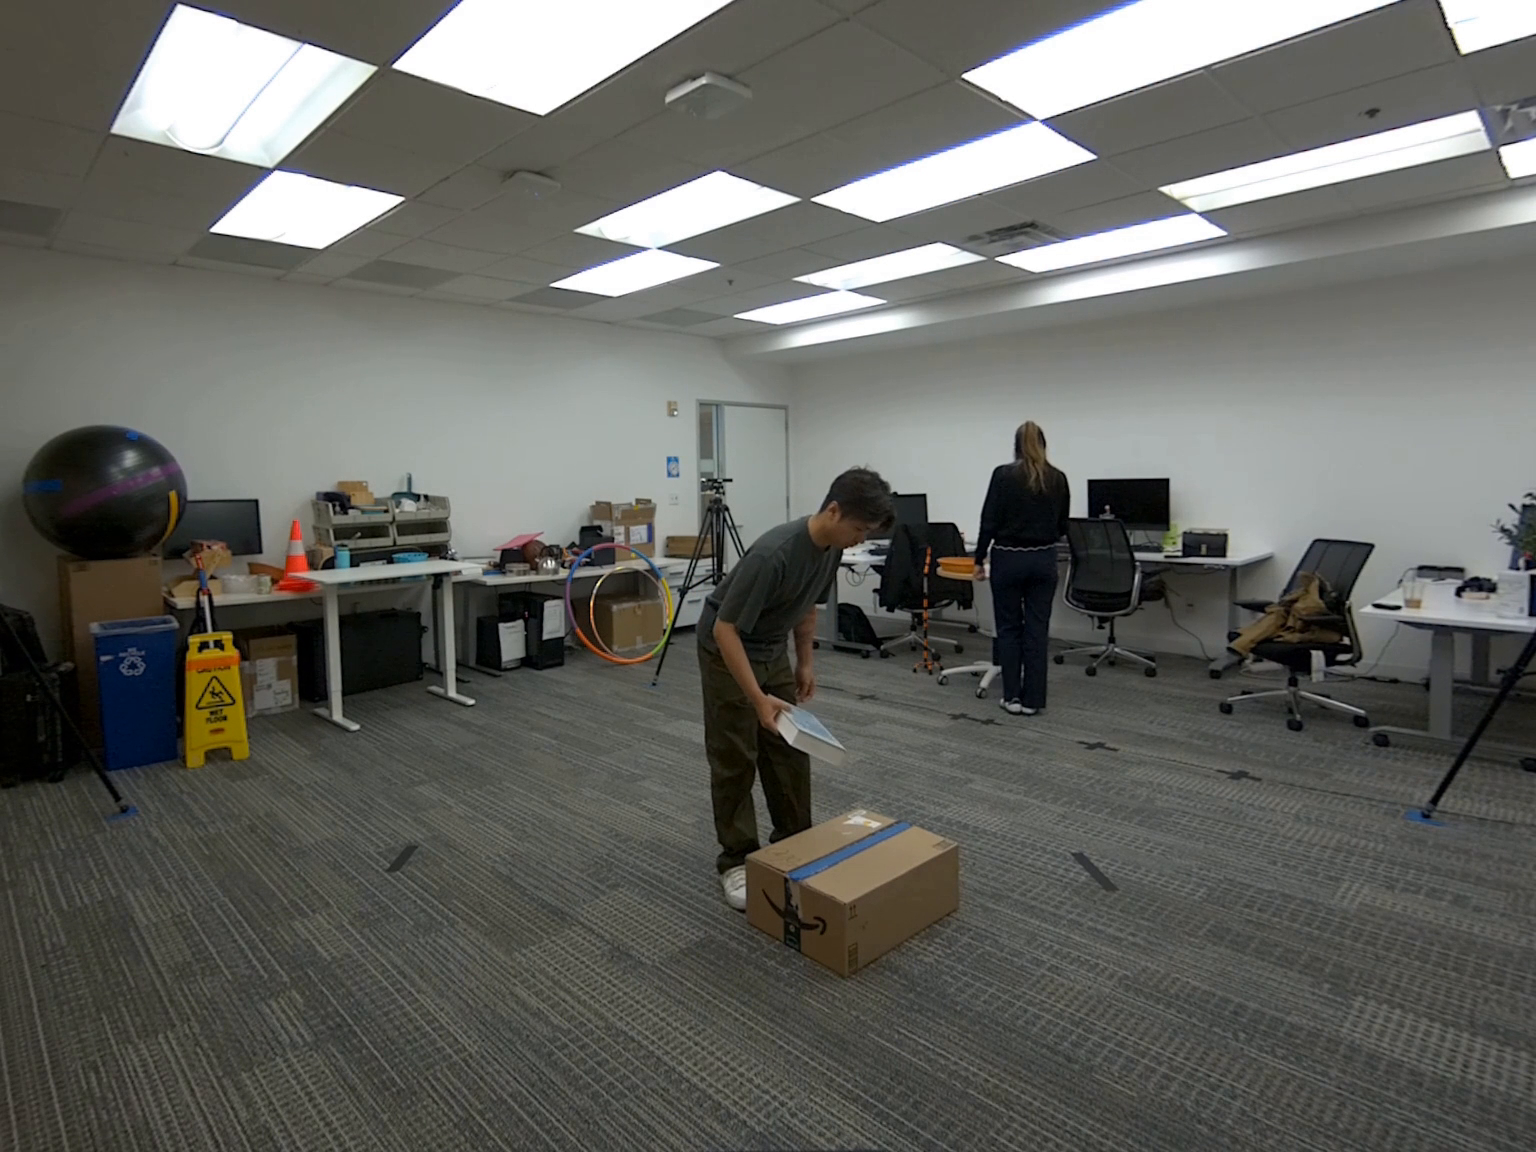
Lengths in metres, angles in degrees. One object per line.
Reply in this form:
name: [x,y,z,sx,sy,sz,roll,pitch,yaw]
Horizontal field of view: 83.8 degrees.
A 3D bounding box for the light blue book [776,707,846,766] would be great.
light blue book: [0.111,0.476,2.645,0.187,0.059,0.268,26,5,-21]
